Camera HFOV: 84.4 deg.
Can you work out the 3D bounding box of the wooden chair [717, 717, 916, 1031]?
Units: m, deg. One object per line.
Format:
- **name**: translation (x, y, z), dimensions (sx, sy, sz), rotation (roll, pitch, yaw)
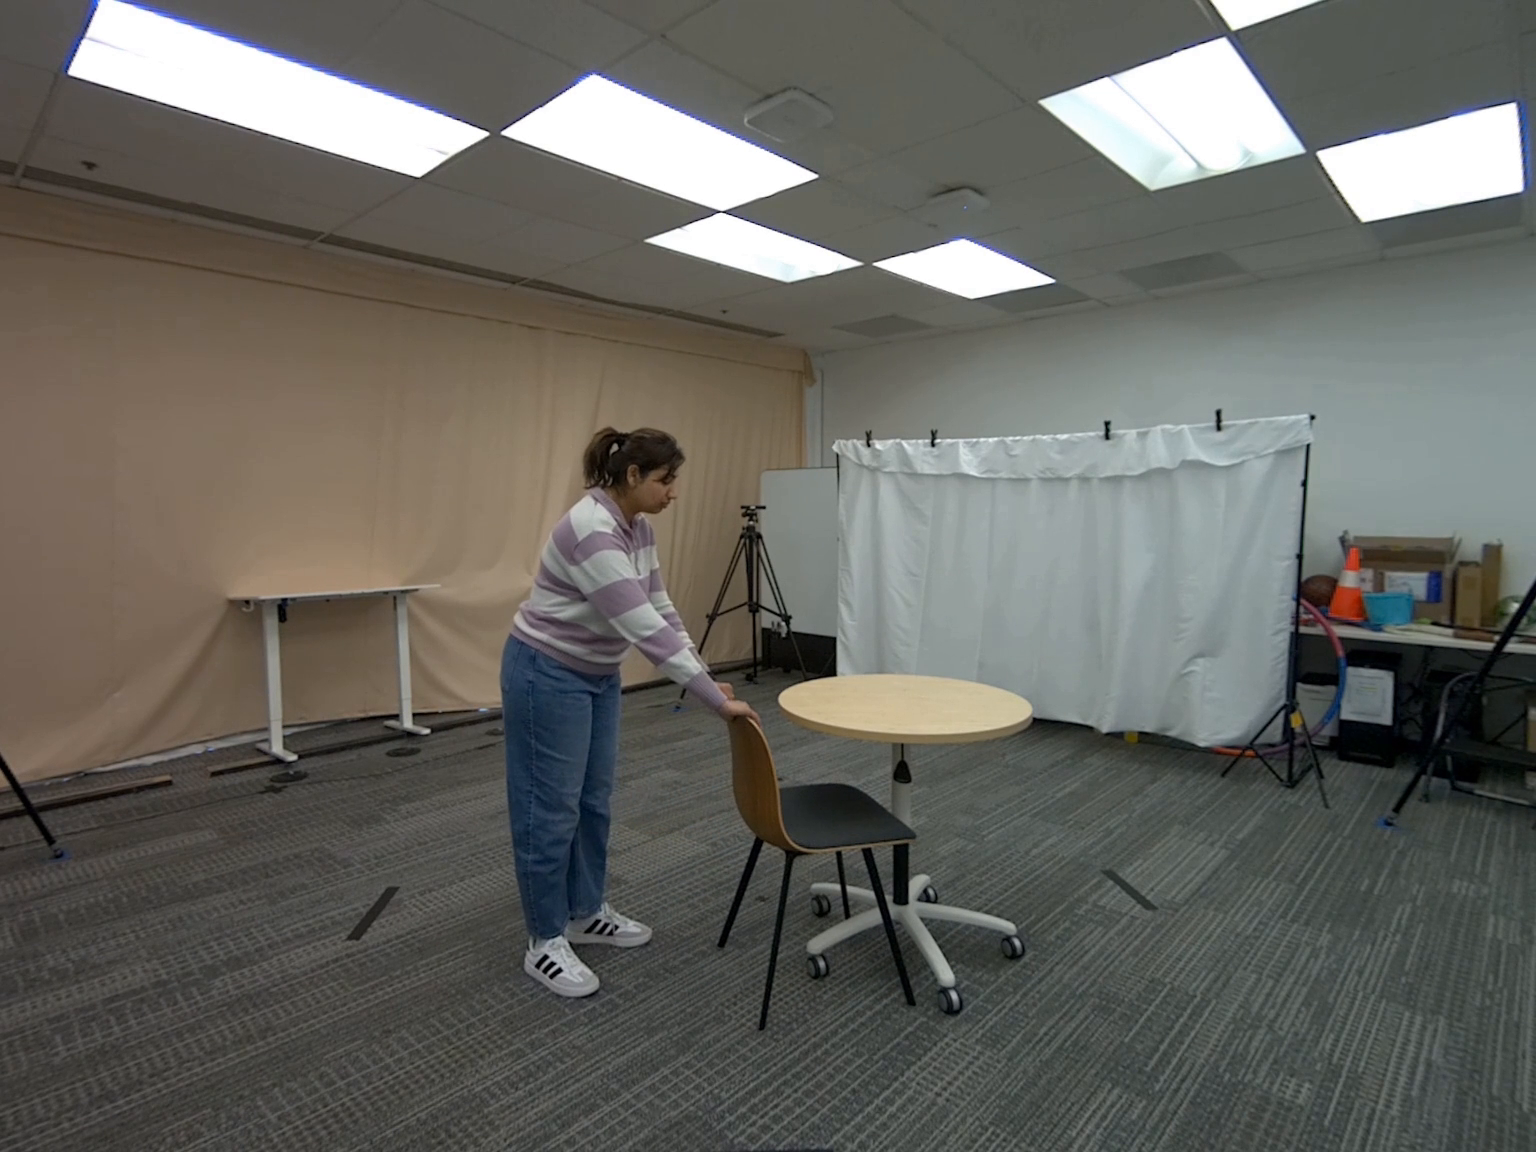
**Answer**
- **wooden chair**: translation (0.135, 0.763, 2.472), dimensions (0.515, 0.875, 0.487), rotation (-5, 4, -17)
